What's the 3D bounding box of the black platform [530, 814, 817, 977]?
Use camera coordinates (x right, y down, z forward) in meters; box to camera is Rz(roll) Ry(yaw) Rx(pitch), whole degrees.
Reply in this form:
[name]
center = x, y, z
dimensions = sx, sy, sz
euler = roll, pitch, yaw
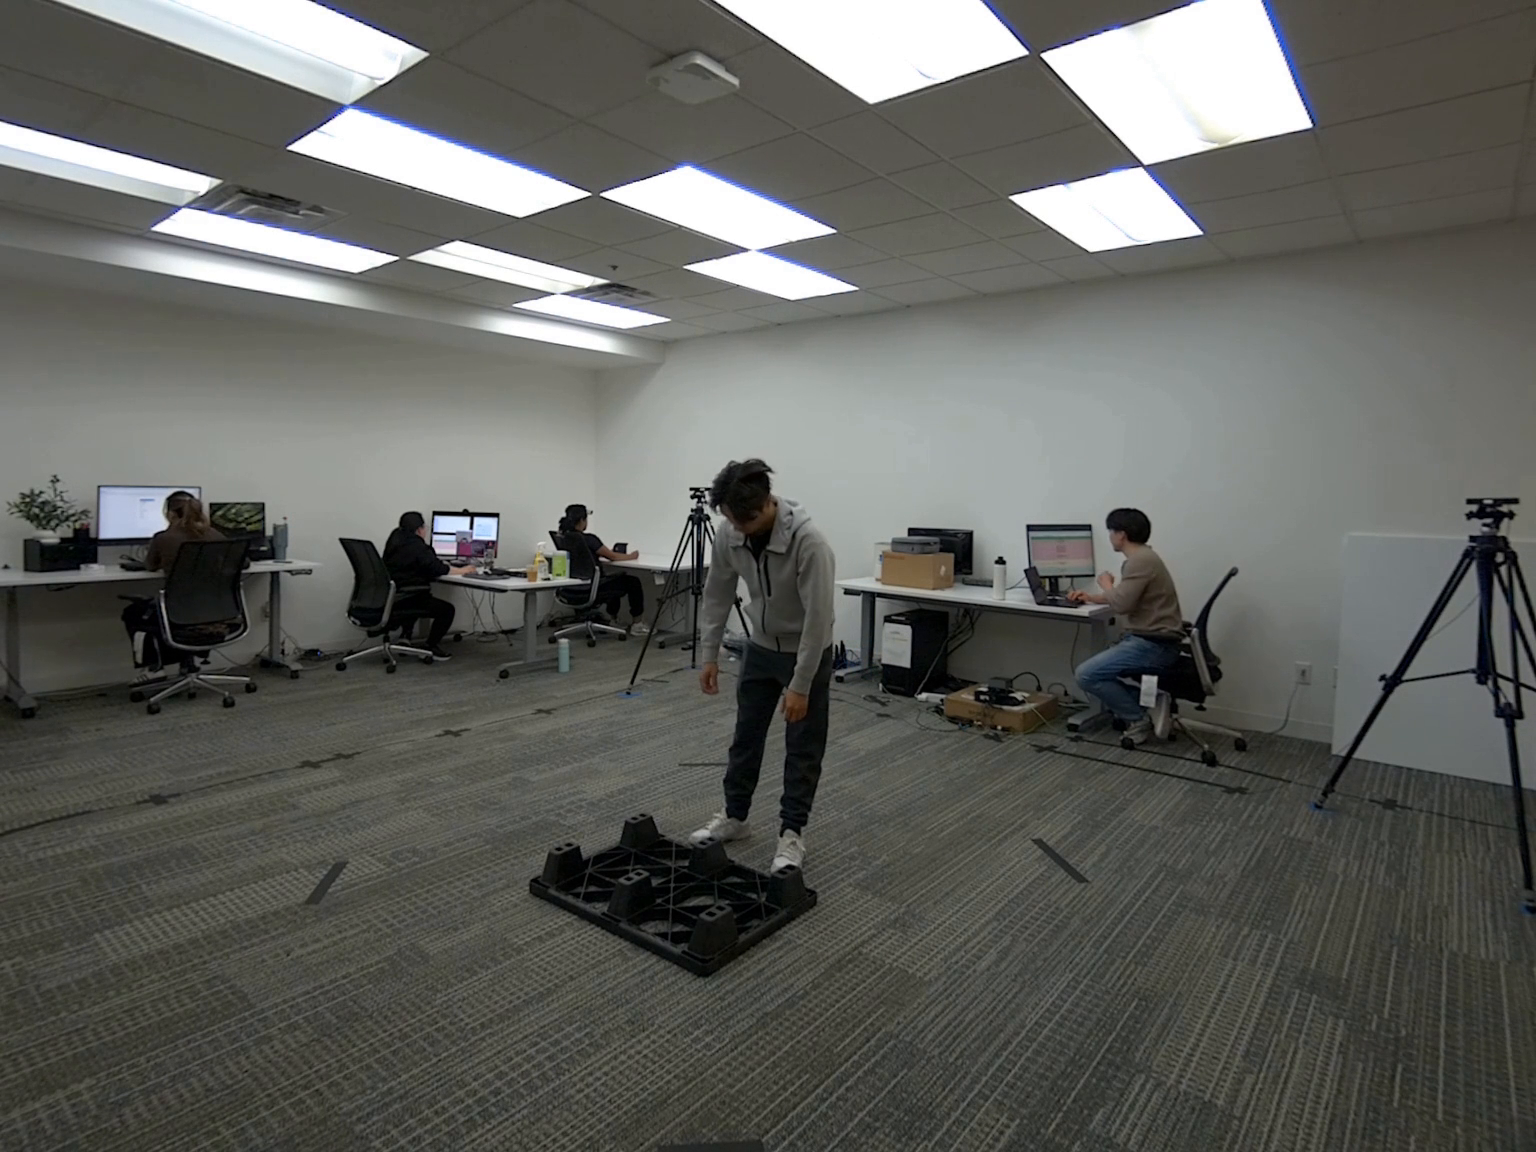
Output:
[black platform]
center = -0.340, 1.022, 2.879
dimensions = 0.832, 0.143, 0.588
euler = 5, 6, 37
